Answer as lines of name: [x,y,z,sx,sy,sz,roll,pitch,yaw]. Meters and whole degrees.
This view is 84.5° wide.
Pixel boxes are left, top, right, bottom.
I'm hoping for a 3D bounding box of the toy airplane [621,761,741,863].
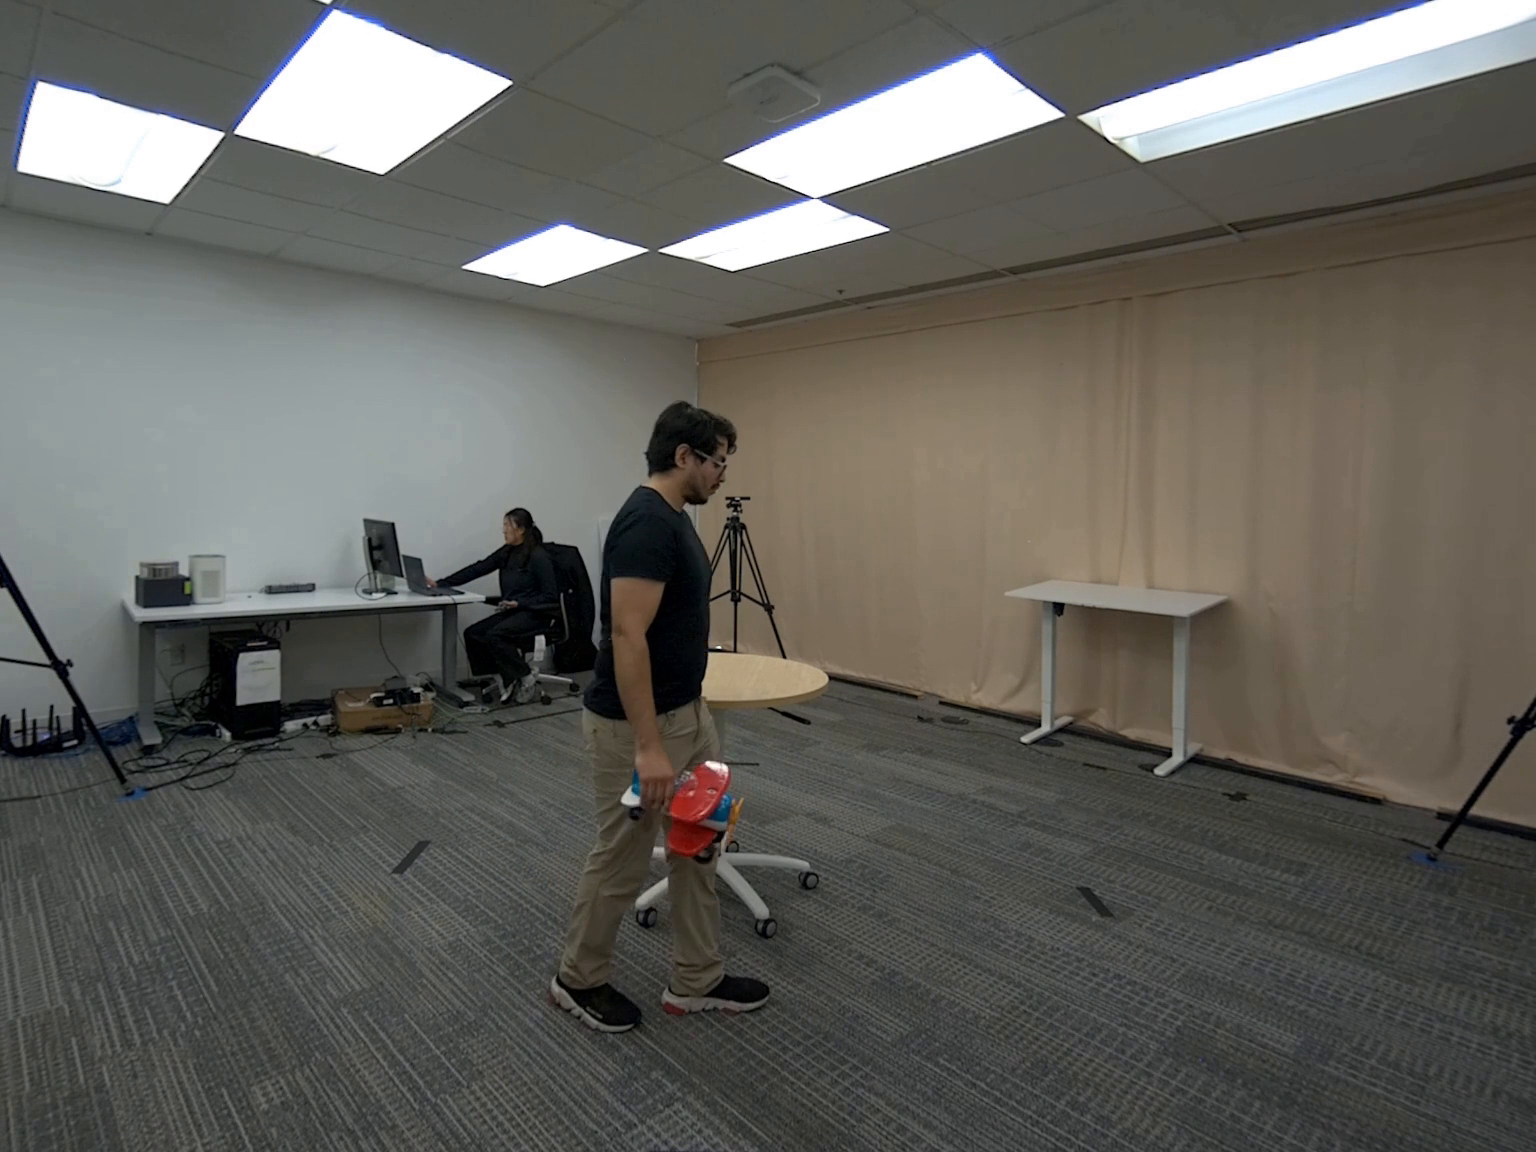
toy airplane: [-0.205,0.530,1.879,0.255,0.155,0.257,15,19,-19]
